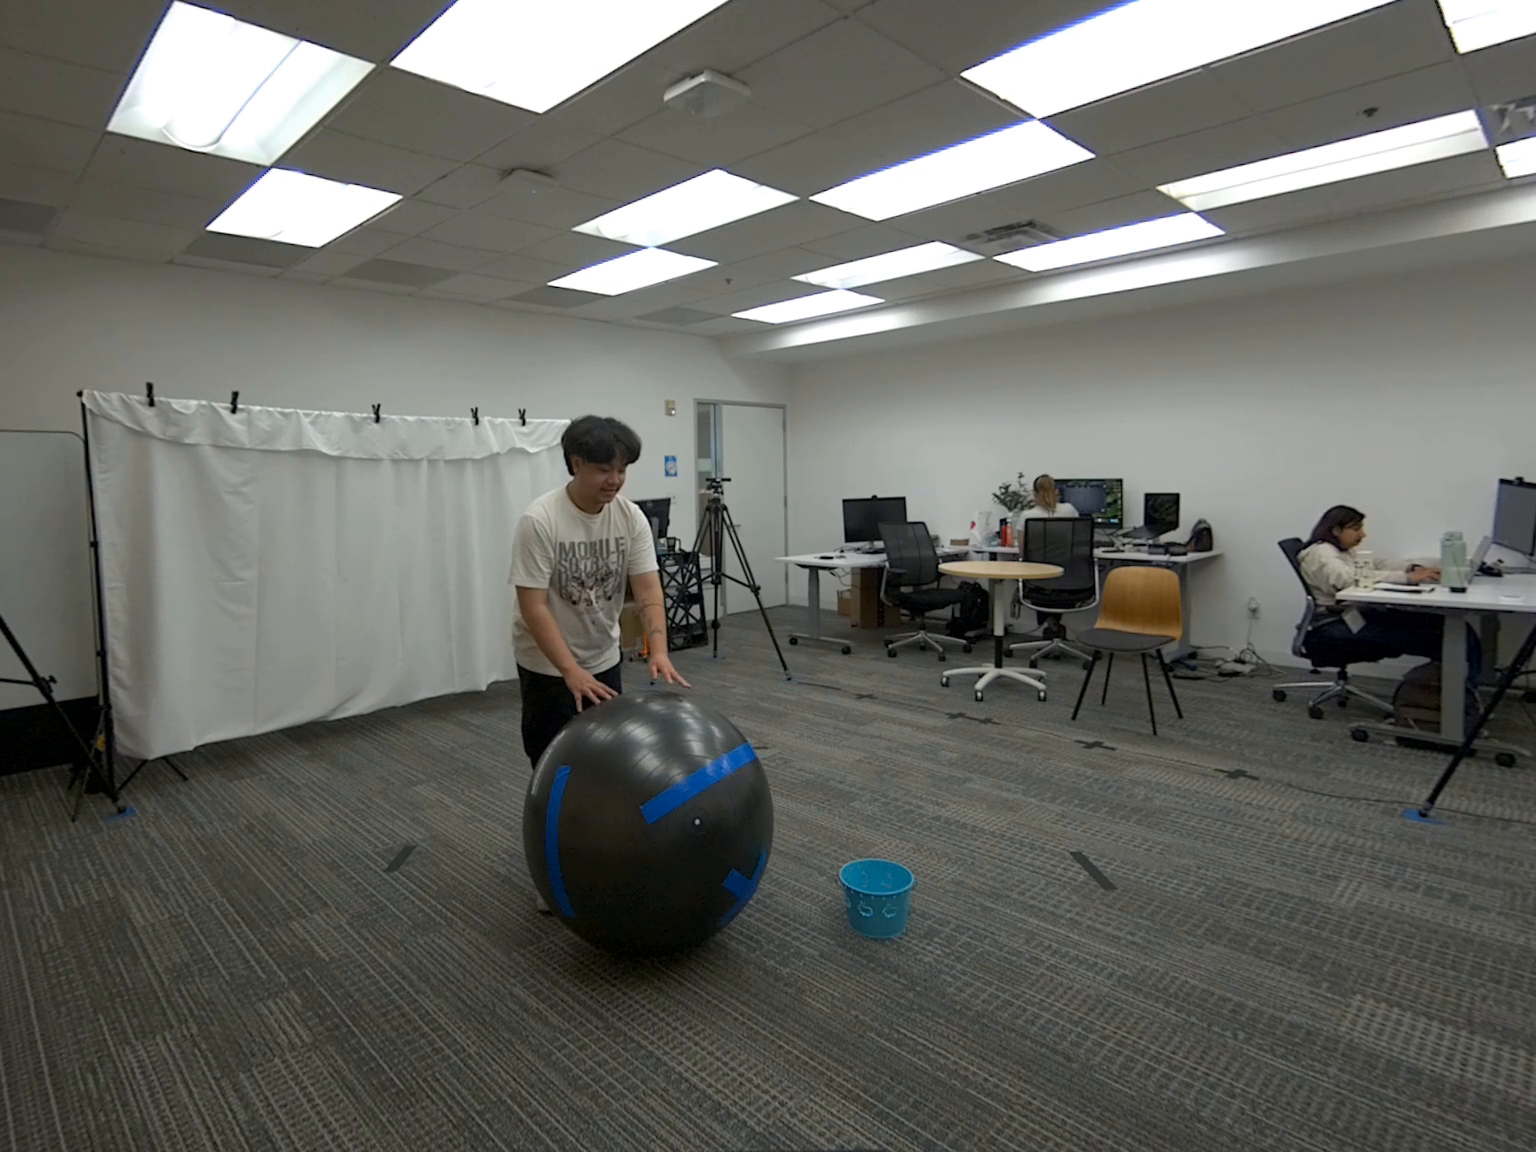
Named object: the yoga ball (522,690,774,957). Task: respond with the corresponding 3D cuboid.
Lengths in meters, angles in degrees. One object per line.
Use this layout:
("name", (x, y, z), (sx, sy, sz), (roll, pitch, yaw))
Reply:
("yoga ball", (-0.358, 0.741, 2.590), (0.757, 0.755, 0.762), (-1, 5, -2))
